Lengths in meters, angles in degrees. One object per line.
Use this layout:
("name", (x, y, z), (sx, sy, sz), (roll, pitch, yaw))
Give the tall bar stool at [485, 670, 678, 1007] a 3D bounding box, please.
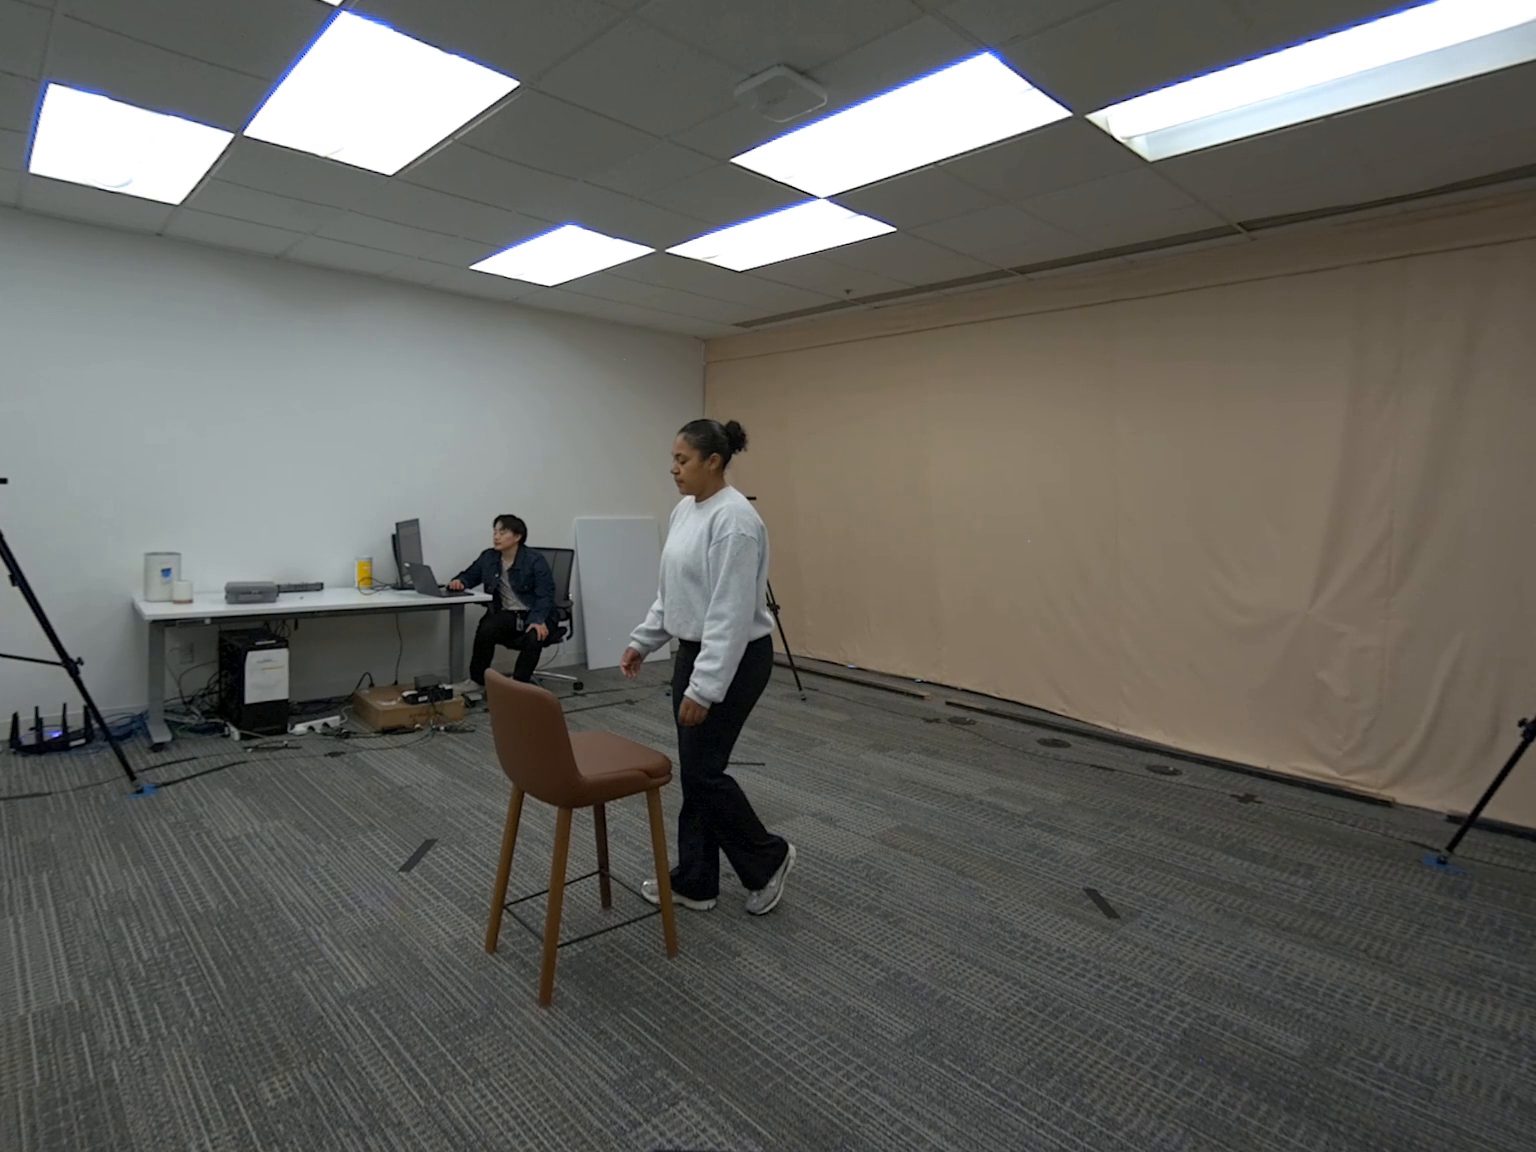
("tall bar stool", (-0.569, 0.709, 2.532), (0.457, 0.887, 0.468), (-4, 6, -41))
